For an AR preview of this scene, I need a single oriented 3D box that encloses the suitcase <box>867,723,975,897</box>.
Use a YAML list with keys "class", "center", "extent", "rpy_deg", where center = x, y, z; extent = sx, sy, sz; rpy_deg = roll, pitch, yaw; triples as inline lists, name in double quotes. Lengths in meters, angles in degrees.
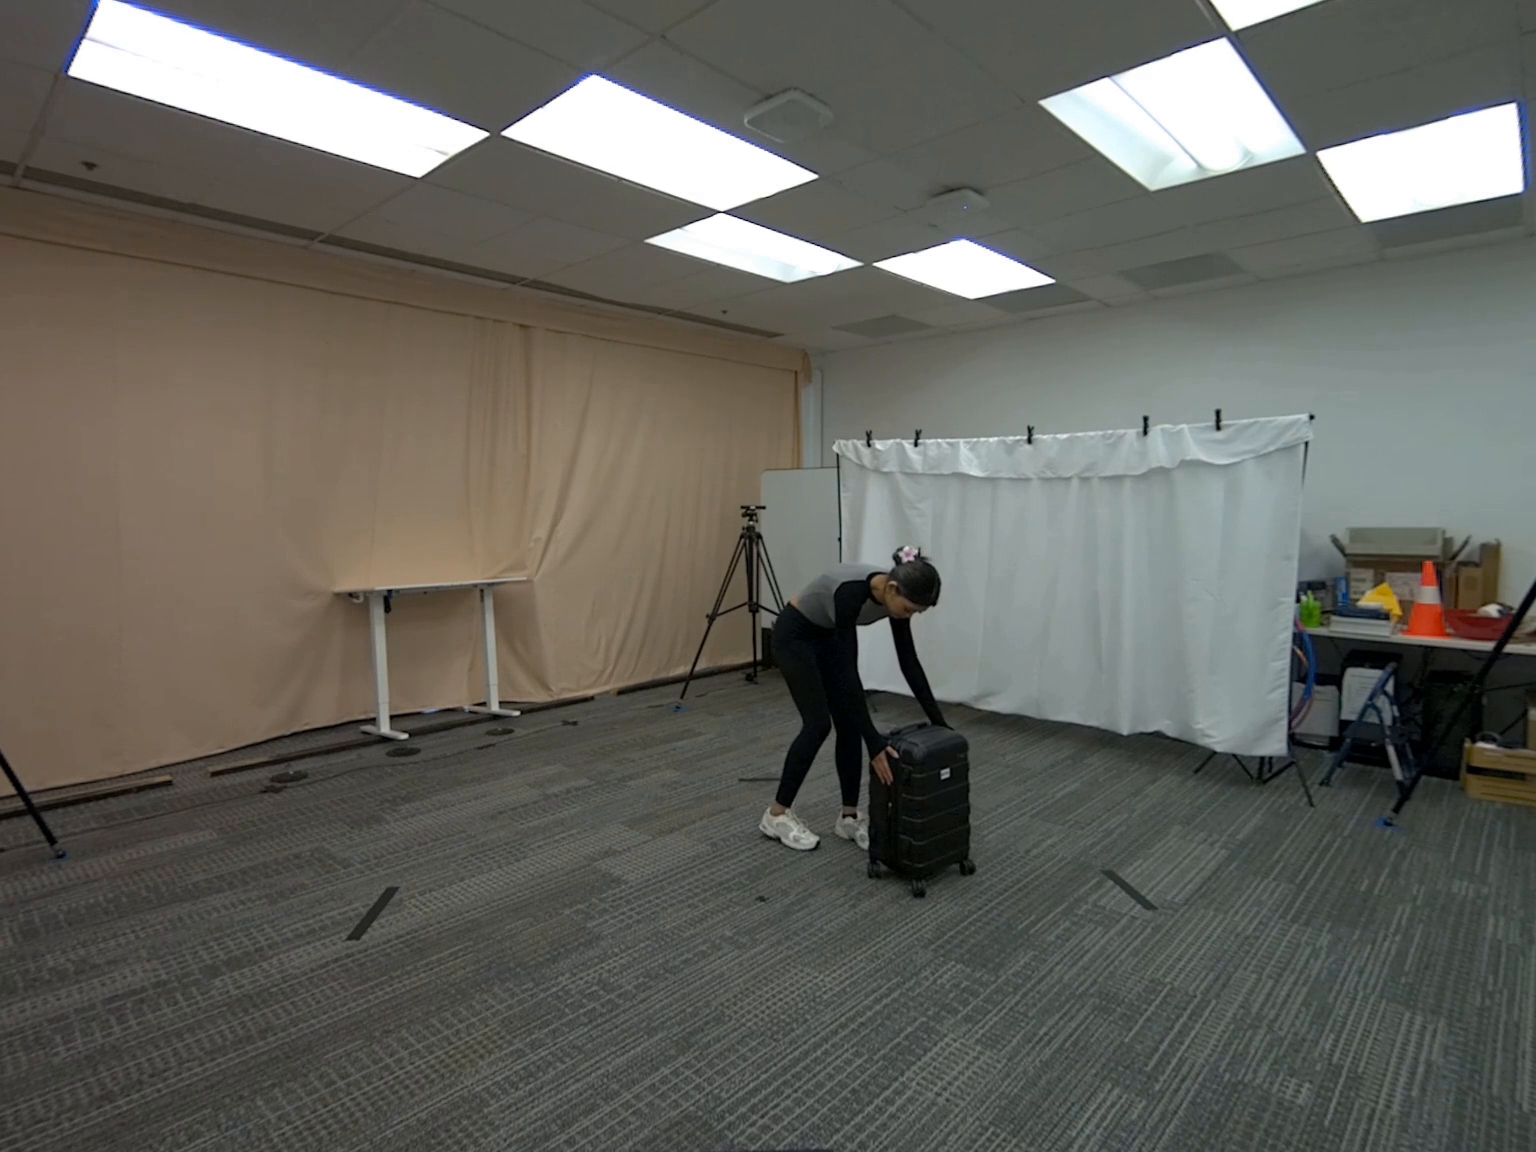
- class: "suitcase"
  center: [0.582, 0.851, 3.178]
  extent: [0.364, 0.549, 0.256]
  rpy_deg: [-2, 3, -42]
